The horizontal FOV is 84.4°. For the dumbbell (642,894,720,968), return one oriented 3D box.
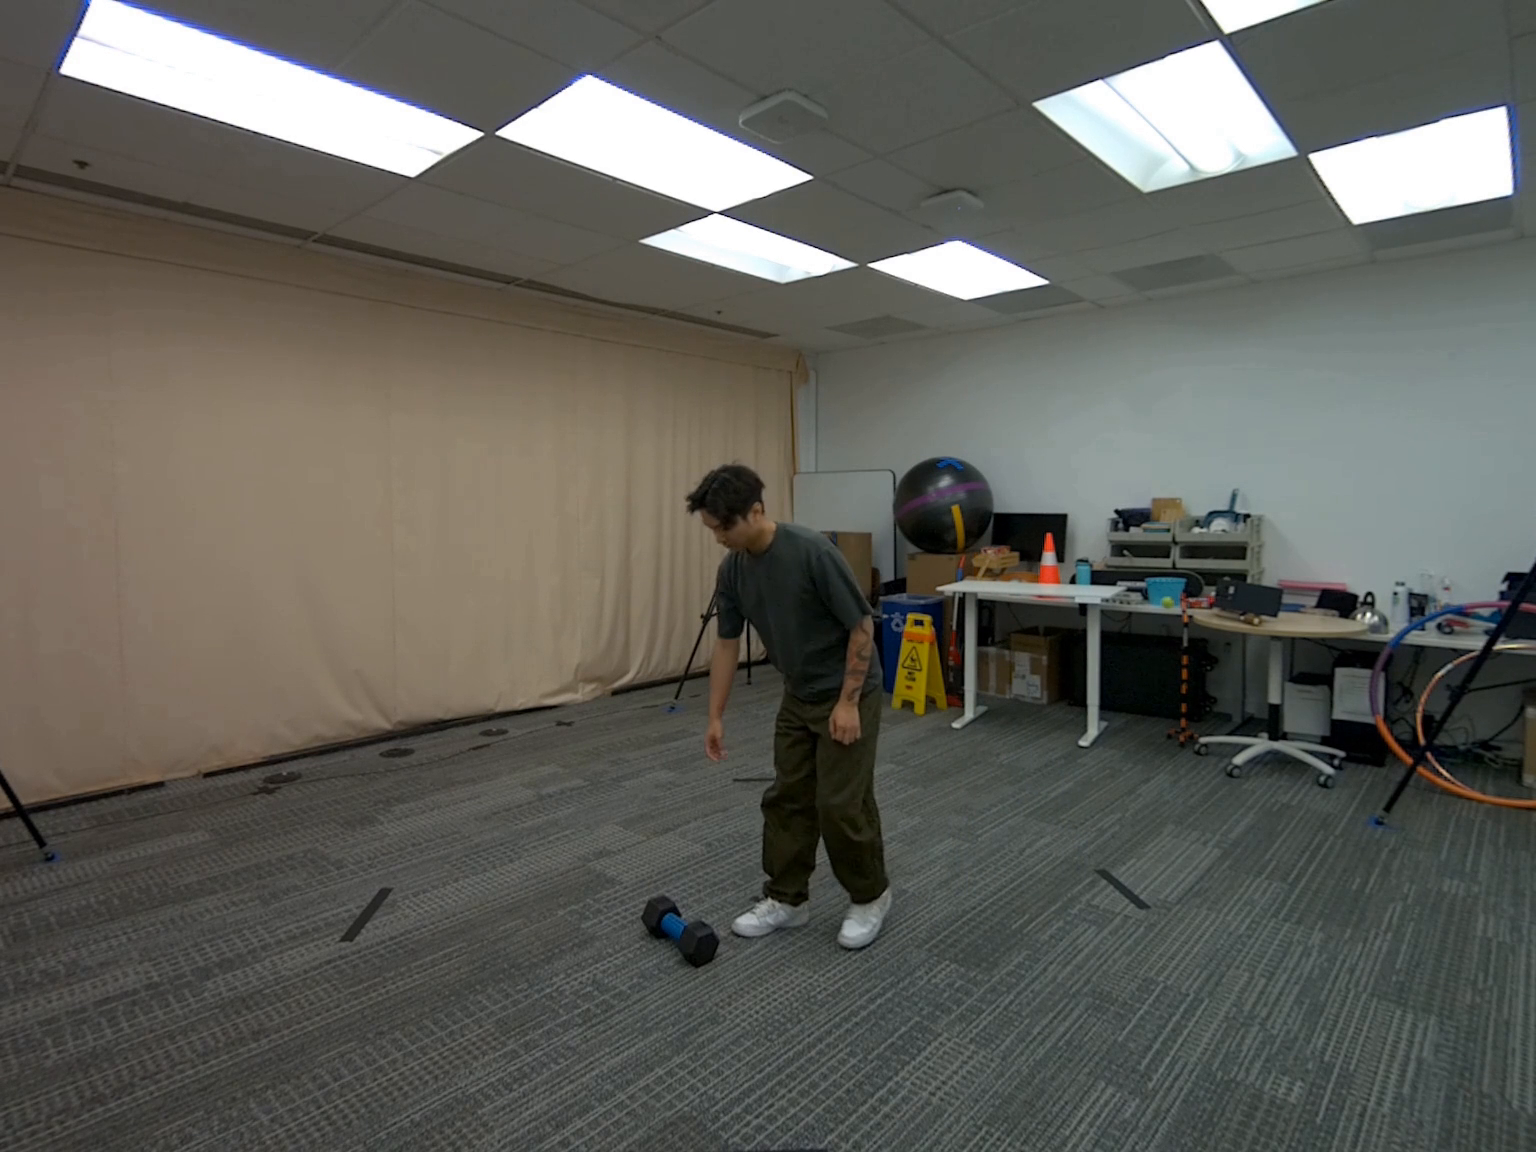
[{"bbox_3d":[-0.278,1.122,2.663,0.107,0.120,0.303,-38,25,-30],"label":"dumbbell"}]
